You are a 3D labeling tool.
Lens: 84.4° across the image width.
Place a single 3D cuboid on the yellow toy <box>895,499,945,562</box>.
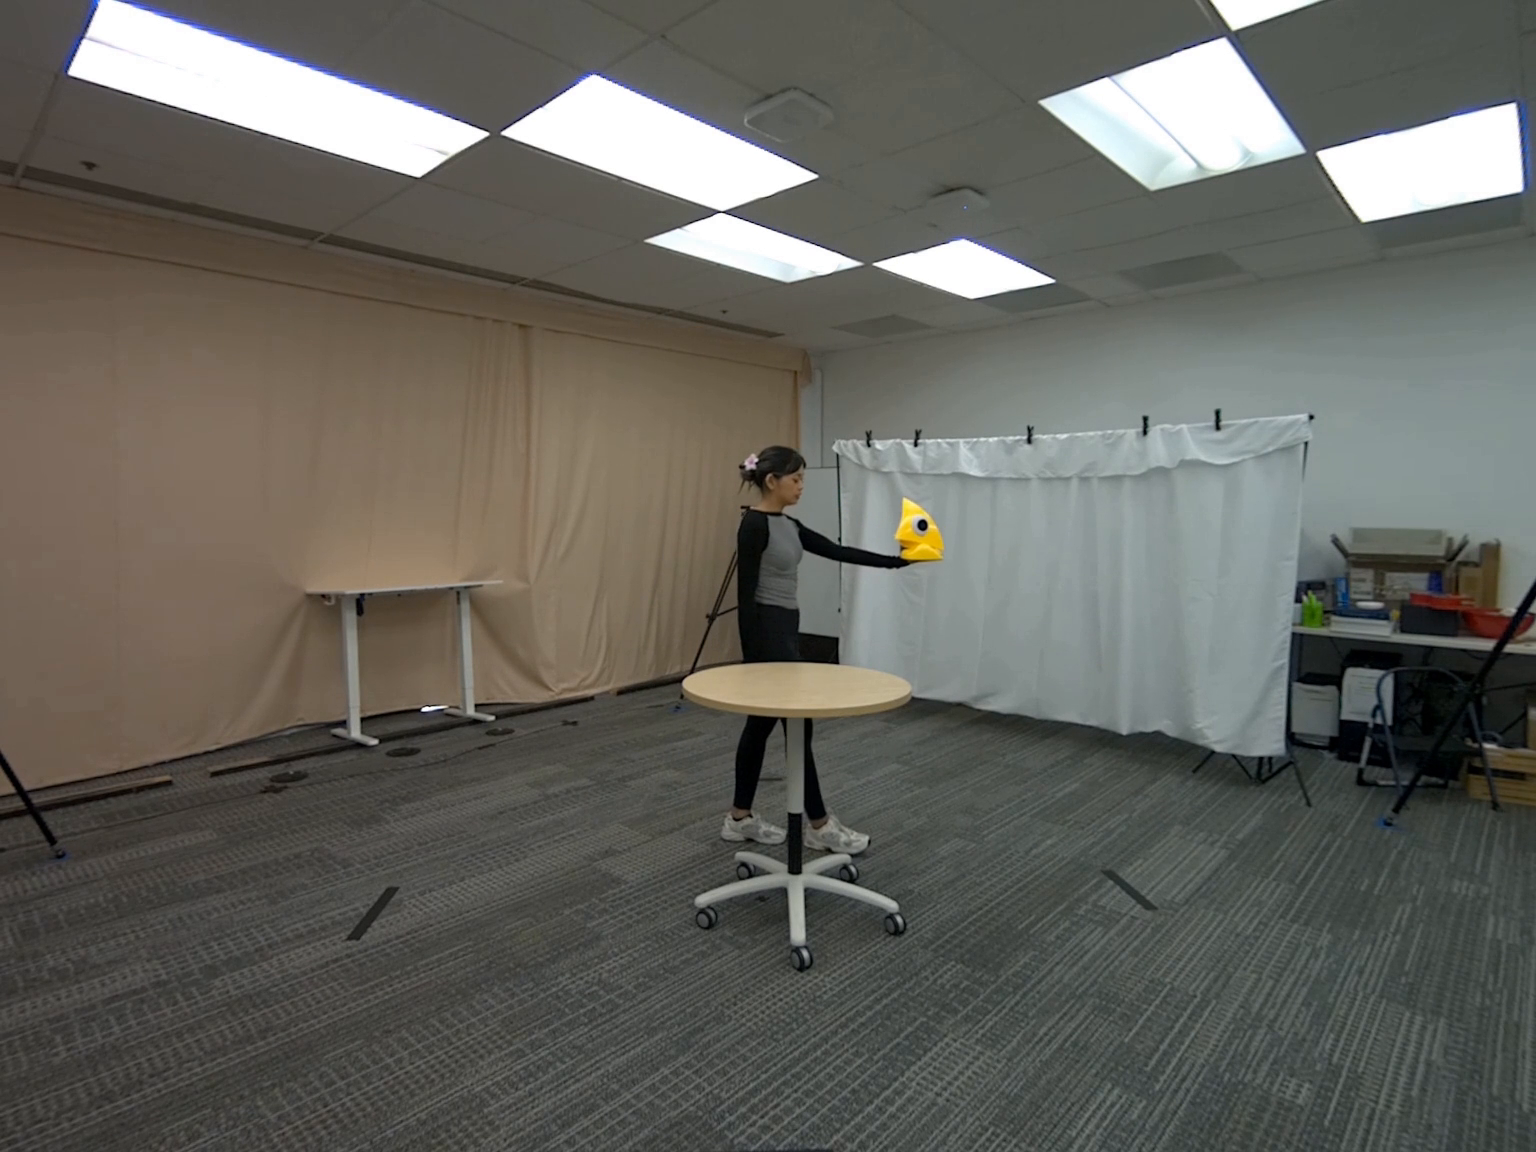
[{"bbox_3d":[0.595,-0.188,3.281,0.196,0.230,0.203,1,7,12],"label":"yellow toy"}]
